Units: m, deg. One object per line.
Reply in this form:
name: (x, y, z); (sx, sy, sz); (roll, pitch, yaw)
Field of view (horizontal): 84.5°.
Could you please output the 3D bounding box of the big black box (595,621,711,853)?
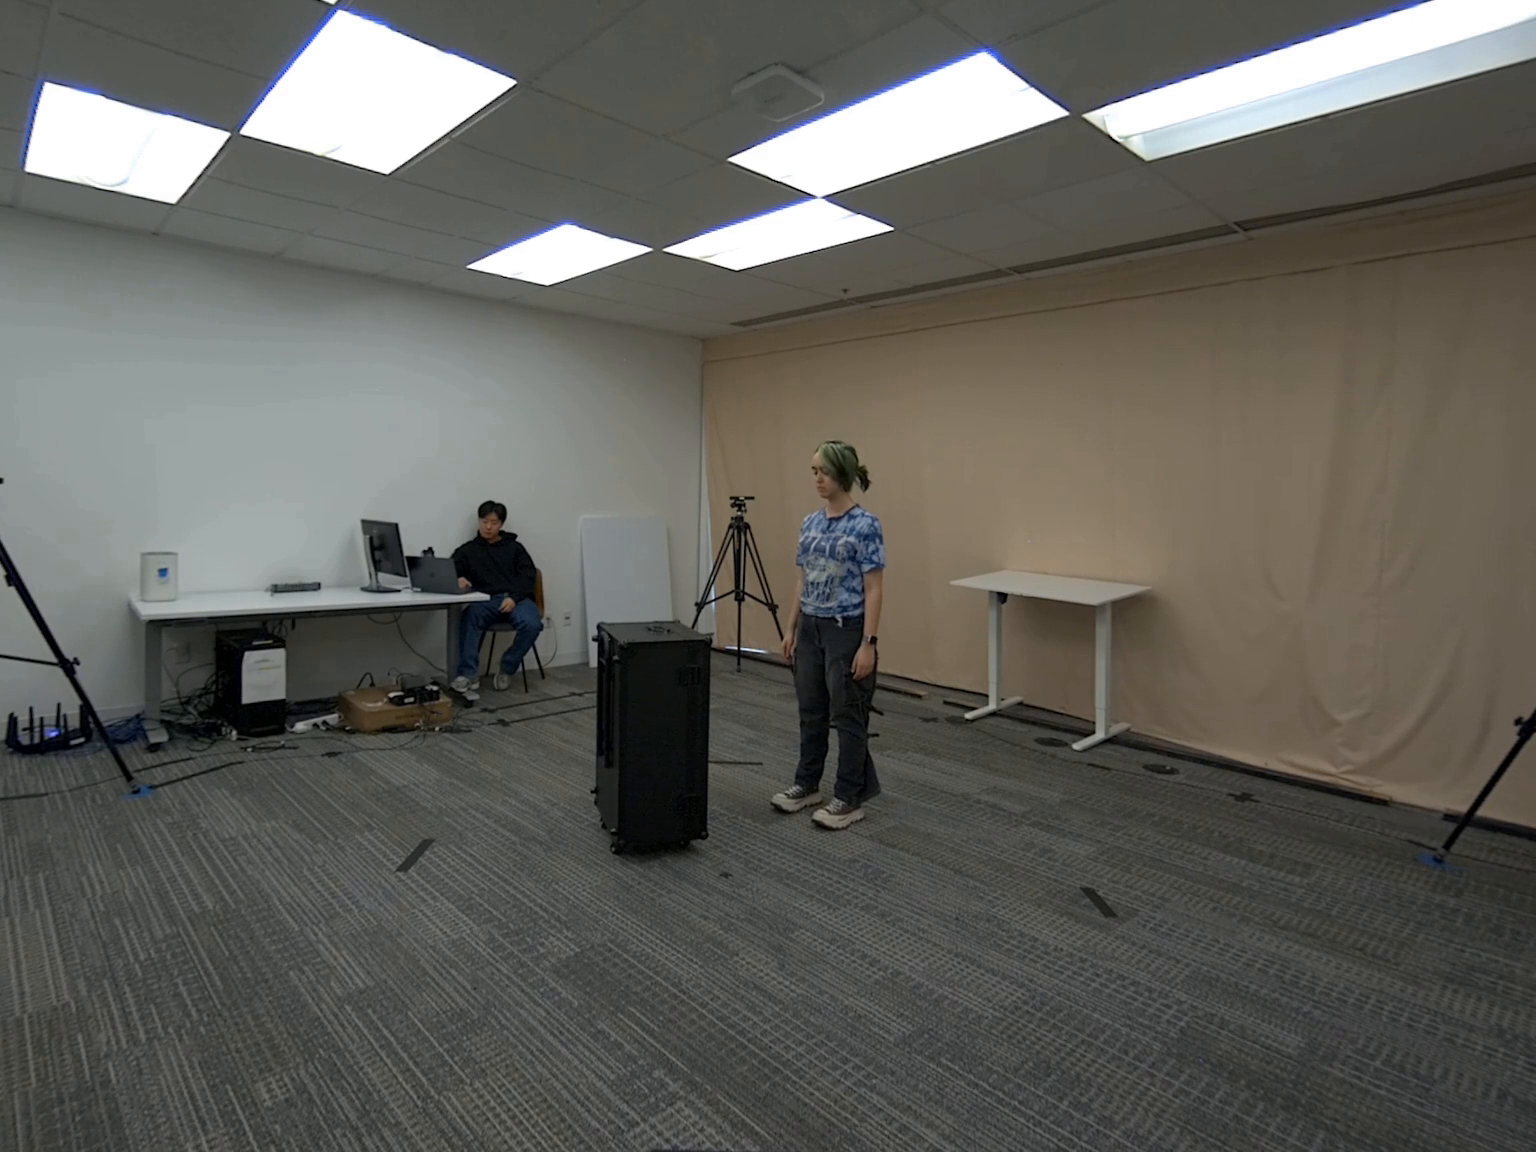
big black box: (-0.492, 0.582, 3.403); (0.390, 0.859, 0.531); (0, 4, -21)
